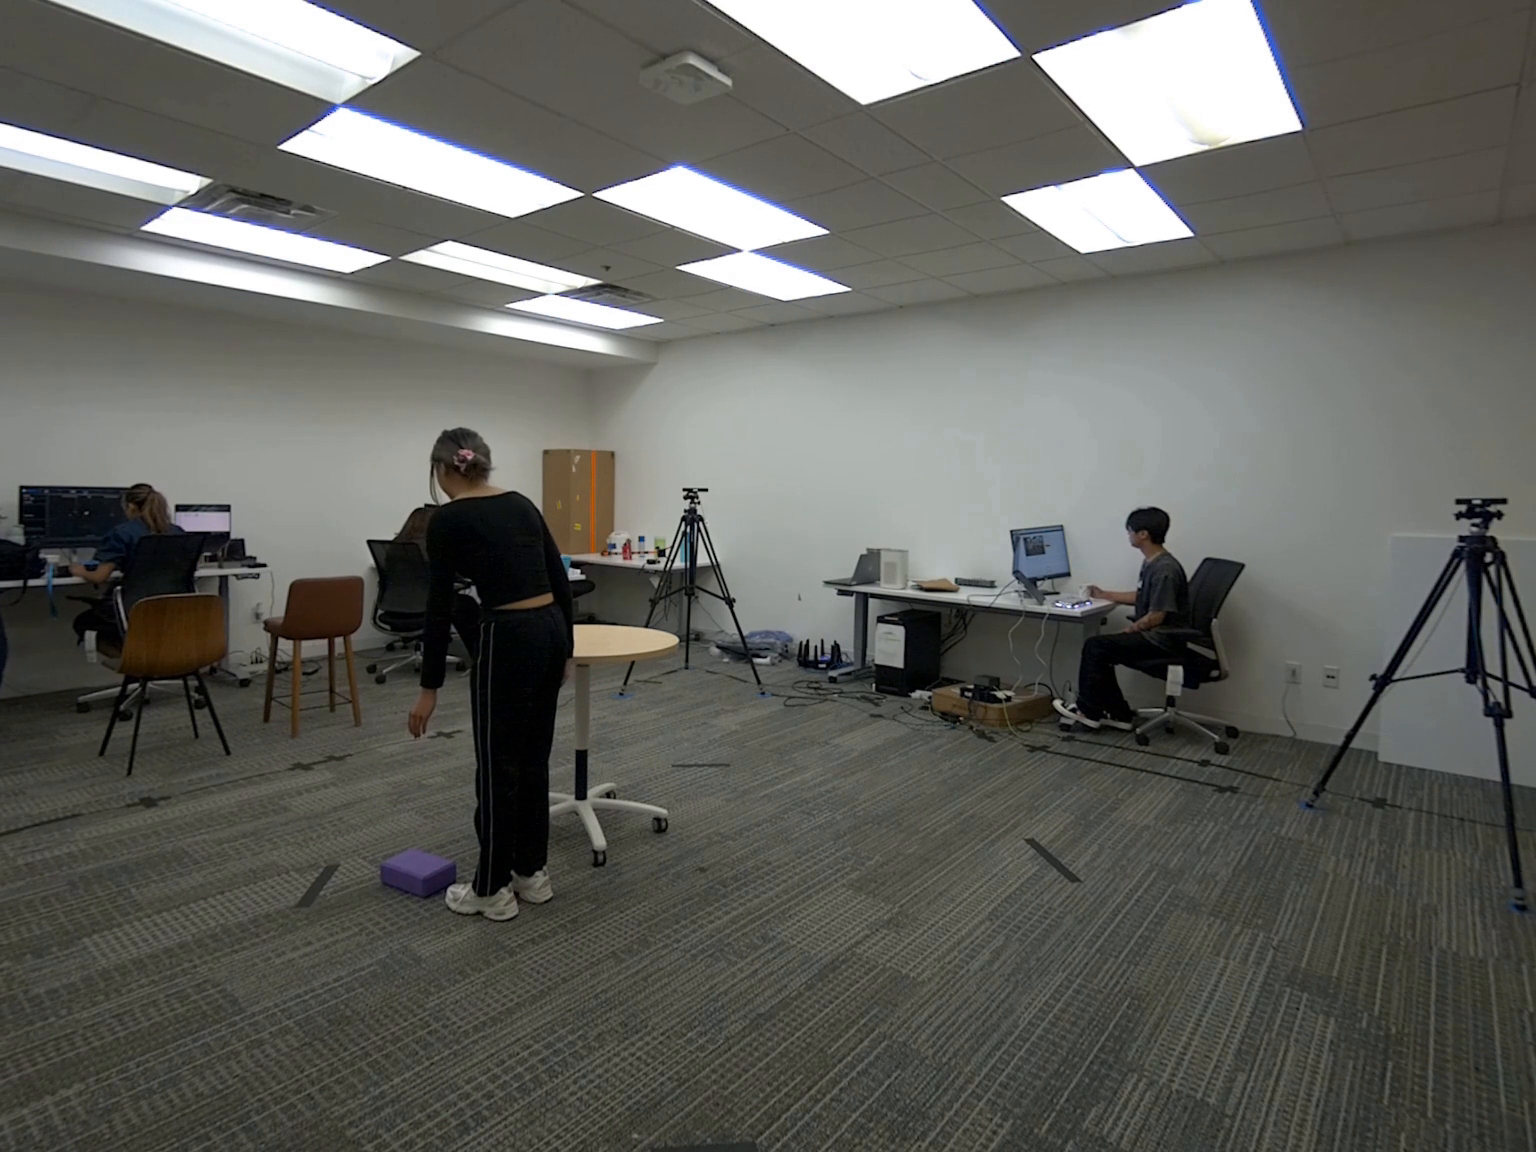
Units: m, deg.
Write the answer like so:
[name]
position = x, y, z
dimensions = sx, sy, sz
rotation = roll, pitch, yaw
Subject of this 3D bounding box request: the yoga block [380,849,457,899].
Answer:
[yoga block]
position = -1.235, 1.031, 2.969
dimensions = 0.236, 0.076, 0.145
rotation = 3, 6, 30
